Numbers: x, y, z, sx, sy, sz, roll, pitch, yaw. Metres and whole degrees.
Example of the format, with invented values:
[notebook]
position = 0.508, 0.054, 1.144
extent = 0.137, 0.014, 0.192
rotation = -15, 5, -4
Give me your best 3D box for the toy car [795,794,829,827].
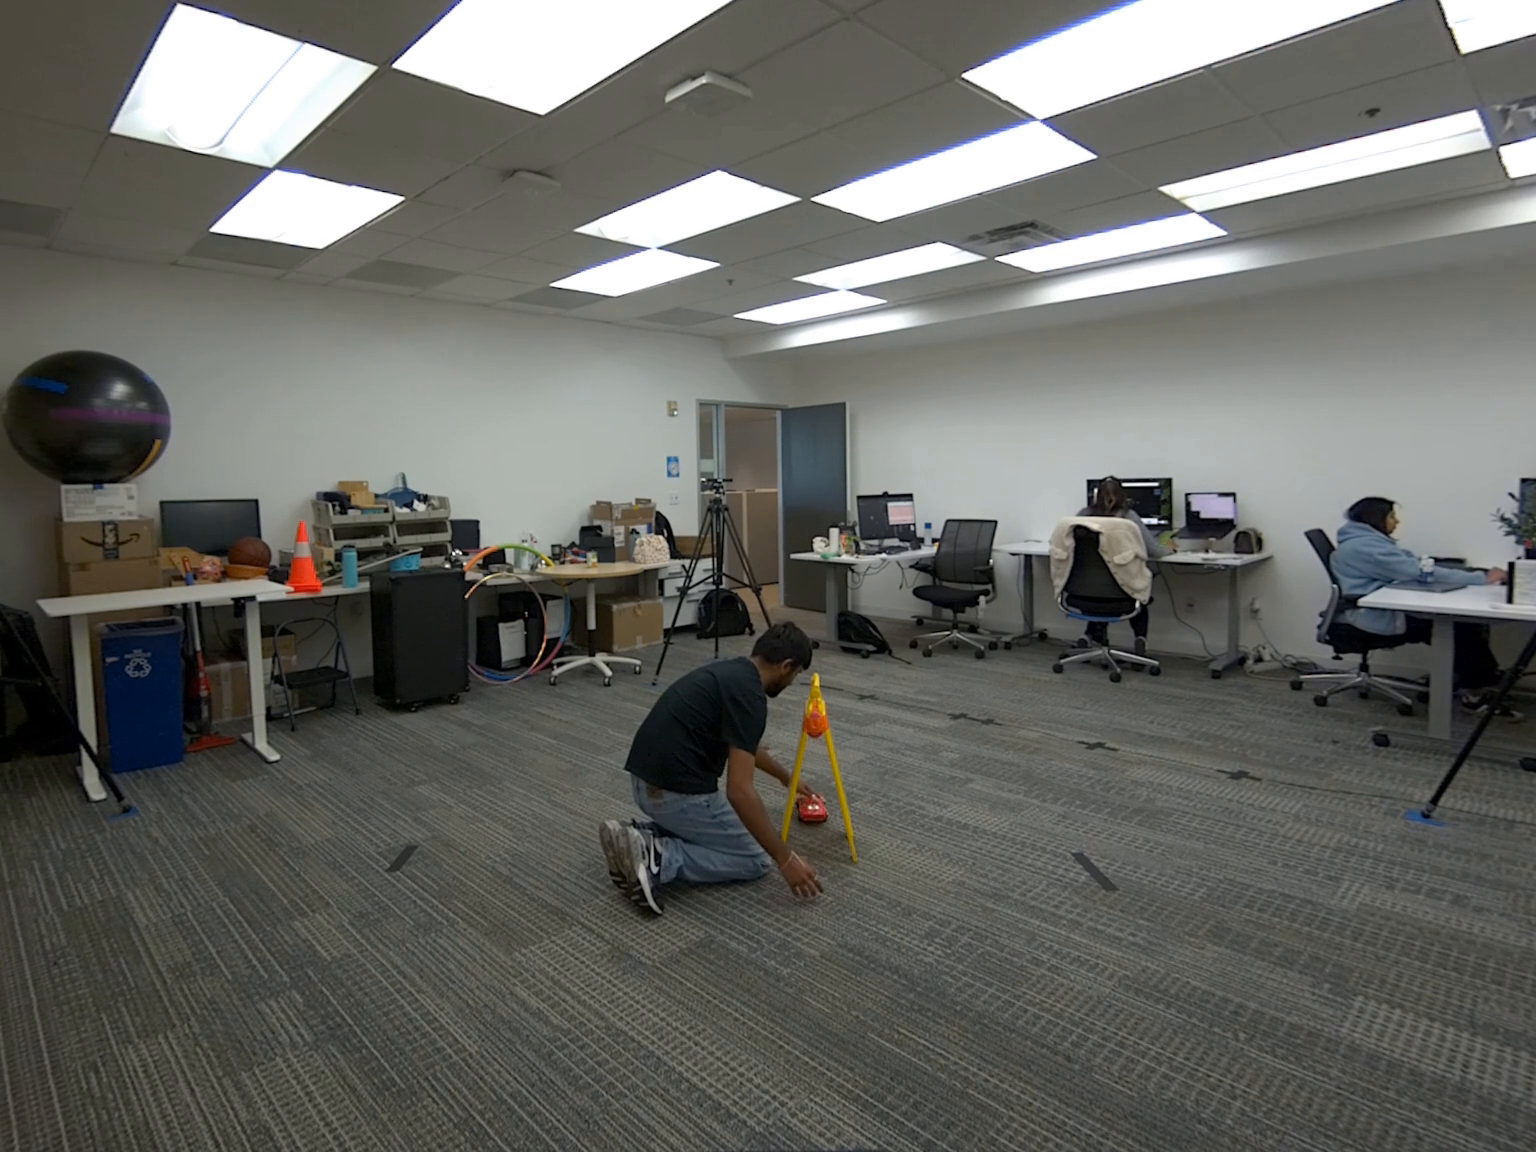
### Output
[toy car]
position = 0.181, 0.962, 3.519
extent = 0.130, 0.084, 0.253
rotation = -2, -6, -1
